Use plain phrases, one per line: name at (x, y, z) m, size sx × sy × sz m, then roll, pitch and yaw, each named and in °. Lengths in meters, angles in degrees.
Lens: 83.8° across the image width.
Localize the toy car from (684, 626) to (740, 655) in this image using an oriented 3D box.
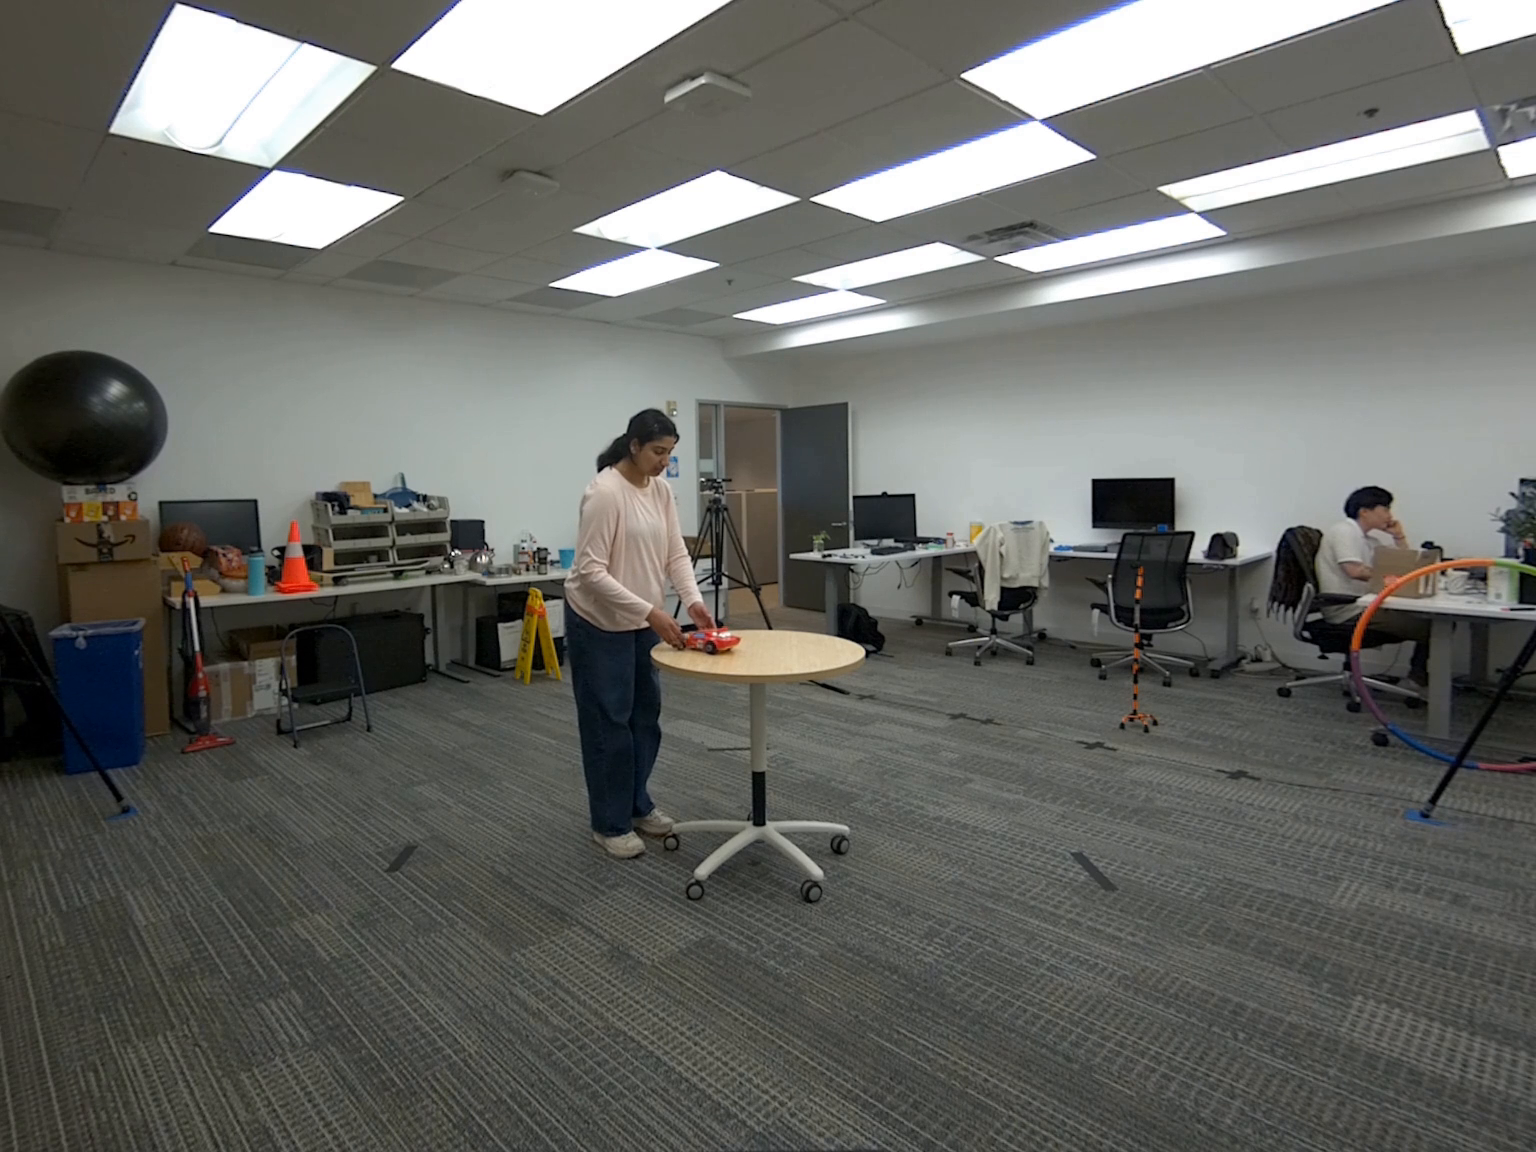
toy car at (-0.202, 0.237, 3.059) m, size 0.260 × 0.083 × 0.127 m, roll -11°, pitch -1°, yaw 38°
